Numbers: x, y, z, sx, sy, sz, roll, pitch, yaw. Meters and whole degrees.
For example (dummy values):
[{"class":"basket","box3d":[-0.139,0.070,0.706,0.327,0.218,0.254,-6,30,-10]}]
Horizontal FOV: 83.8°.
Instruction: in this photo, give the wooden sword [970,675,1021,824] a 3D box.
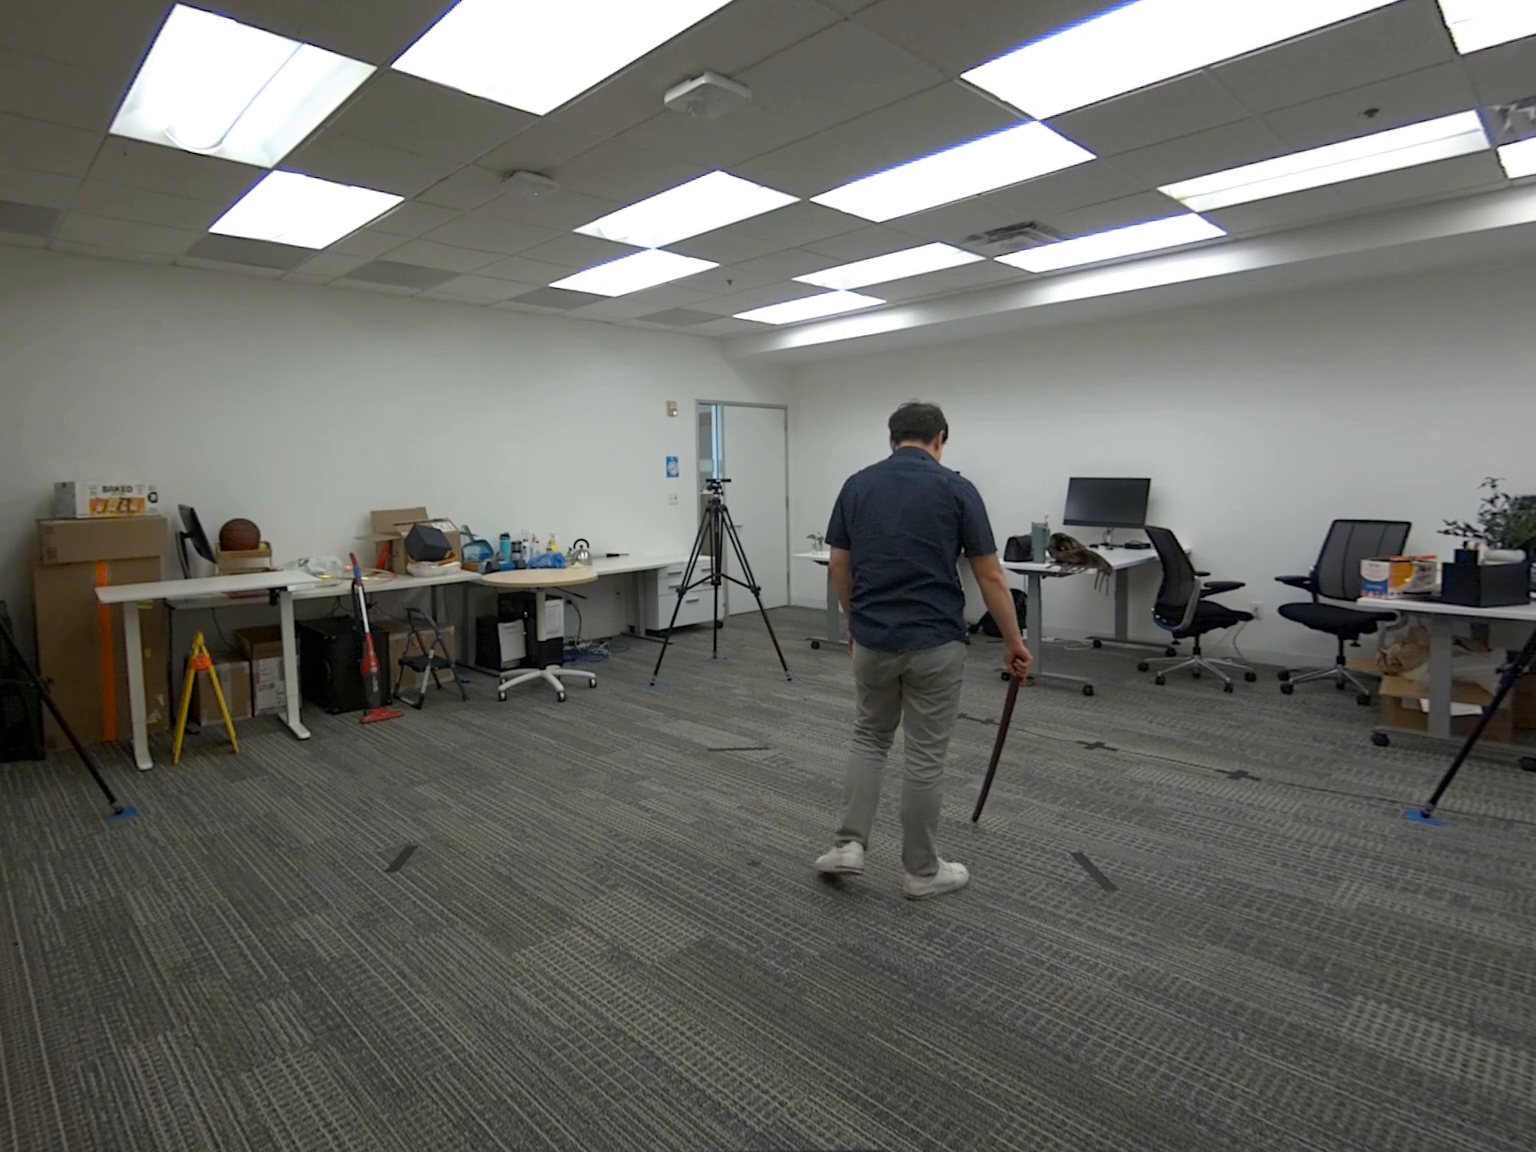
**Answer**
[{"class":"wooden sword","box3d":[0.836,0.647,3.119,0.052,0.997,0.024,17,47,14]}]
